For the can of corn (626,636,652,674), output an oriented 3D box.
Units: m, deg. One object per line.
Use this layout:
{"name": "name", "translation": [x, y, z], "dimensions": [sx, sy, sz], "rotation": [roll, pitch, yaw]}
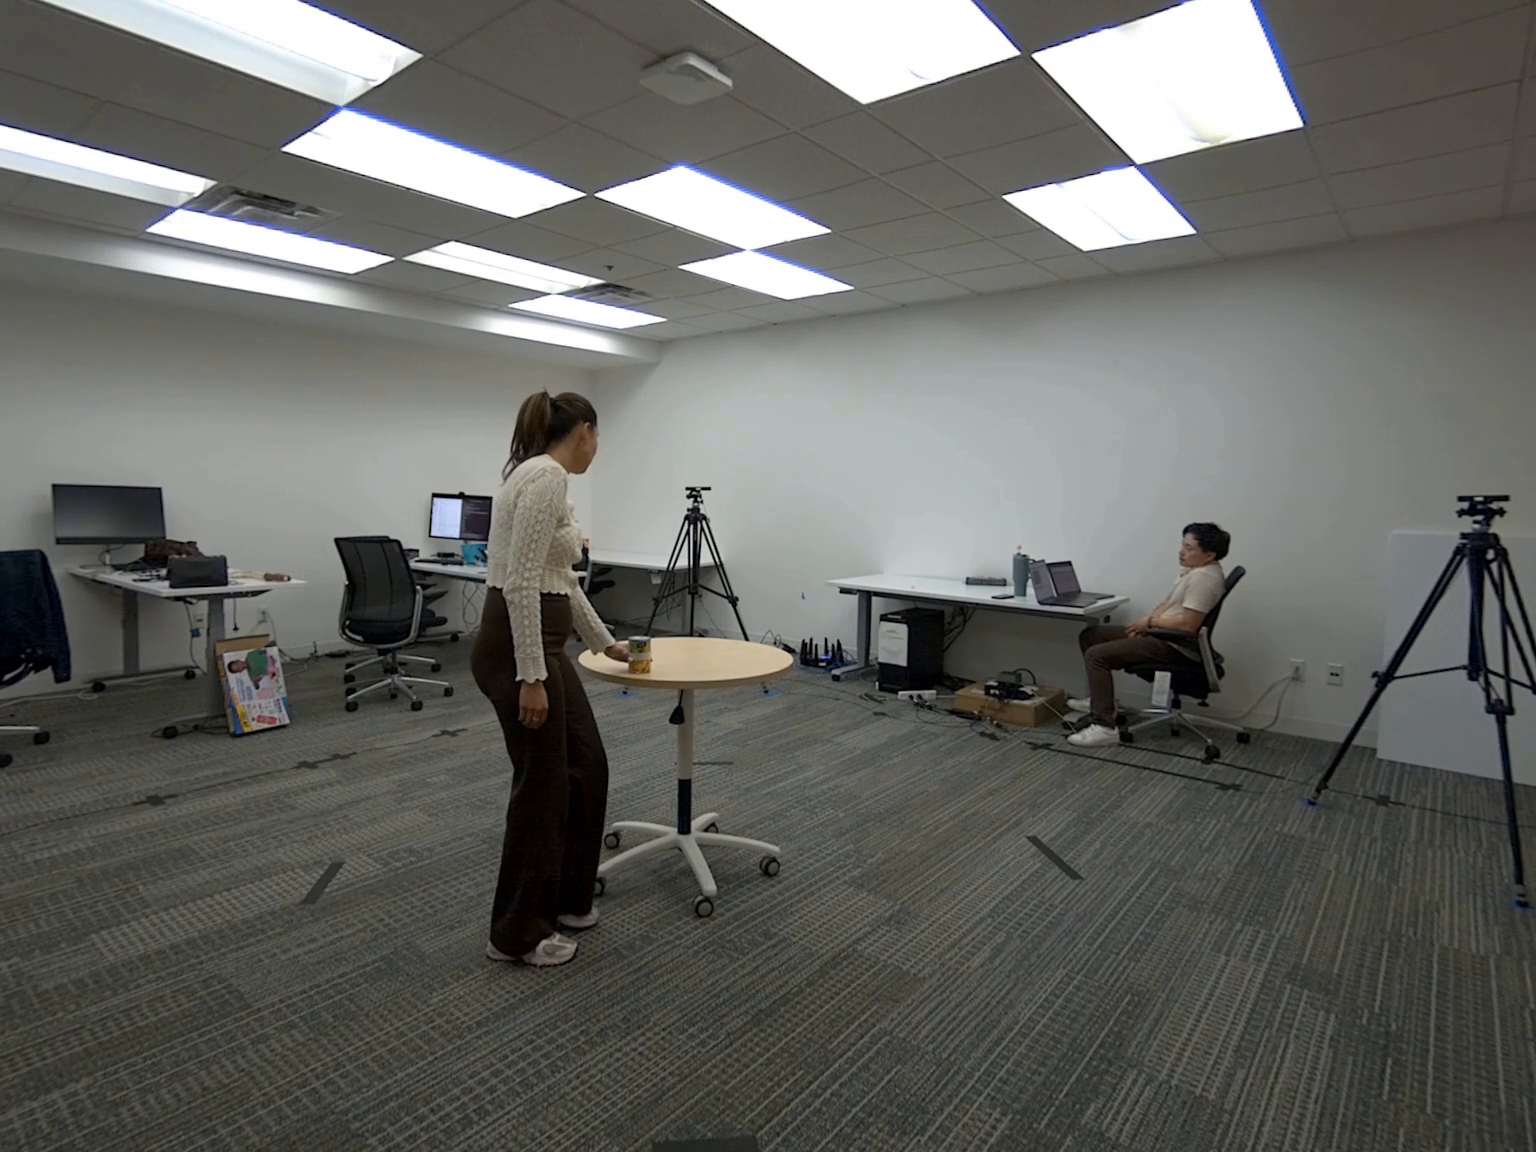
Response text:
{"name": "can of corn", "translation": [-0.434, 0.258, 2.783], "dimensions": [0.074, 0.110, 0.075], "rotation": [-1, 6, -2]}
